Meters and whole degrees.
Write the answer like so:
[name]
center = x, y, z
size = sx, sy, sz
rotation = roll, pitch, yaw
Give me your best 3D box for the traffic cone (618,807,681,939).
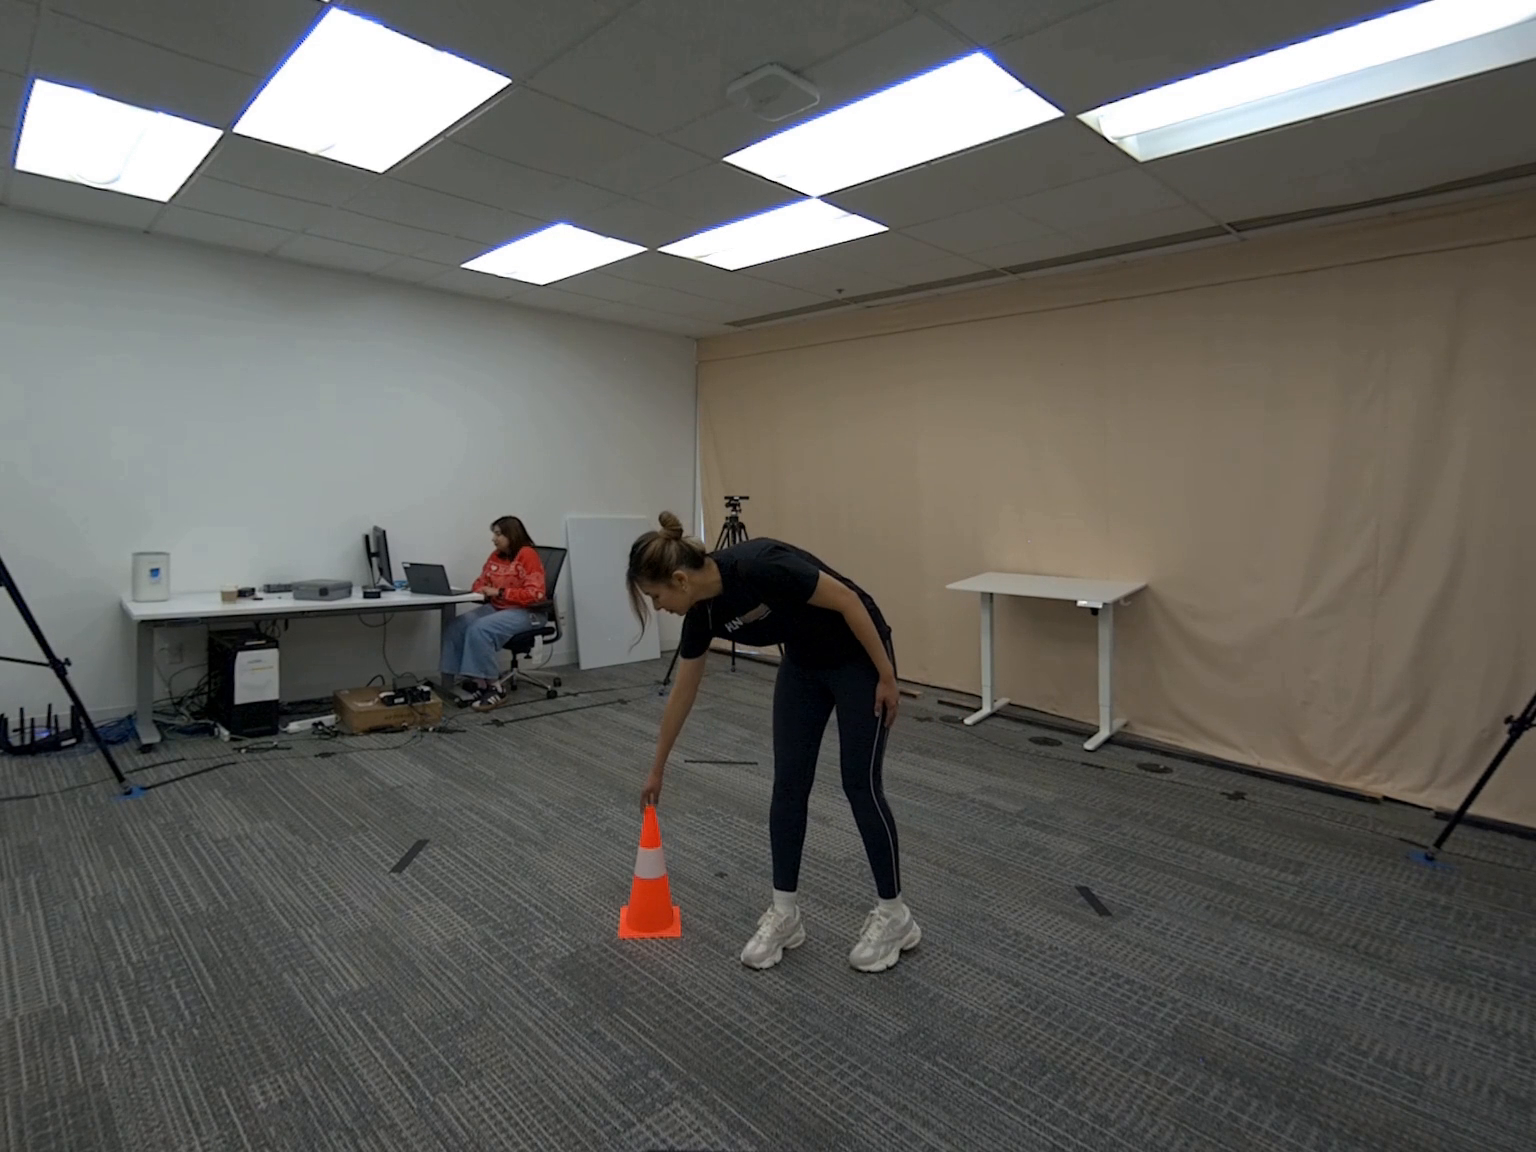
[traffic cone]
center = -0.385, 0.946, 2.735
size = 0.204, 0.383, 0.205
rotation = 1, 4, -7
